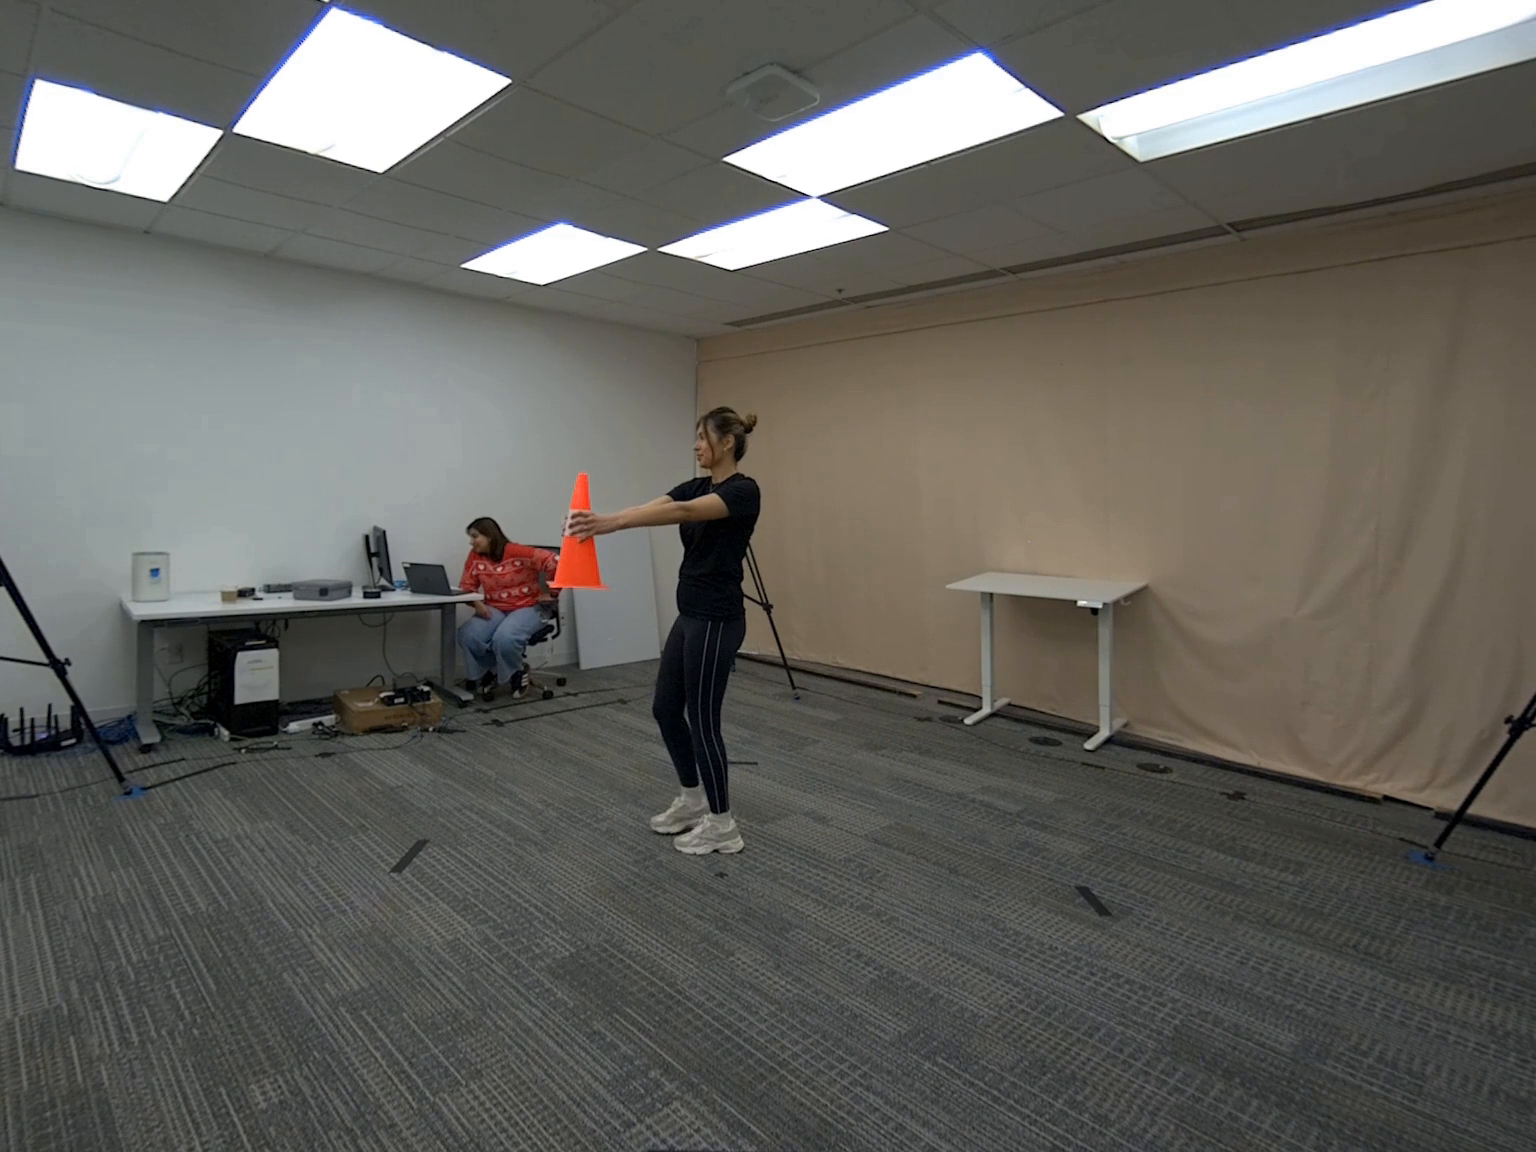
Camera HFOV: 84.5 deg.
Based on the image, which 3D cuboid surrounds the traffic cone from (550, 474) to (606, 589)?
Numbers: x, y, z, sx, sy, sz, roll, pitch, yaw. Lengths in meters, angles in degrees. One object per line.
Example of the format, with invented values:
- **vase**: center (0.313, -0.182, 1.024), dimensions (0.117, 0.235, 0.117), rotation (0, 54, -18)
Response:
- **traffic cone**: center (-0.658, -0.157, 2.865), dimensions (0.208, 0.383, 0.201), rotation (4, 3, 16)
